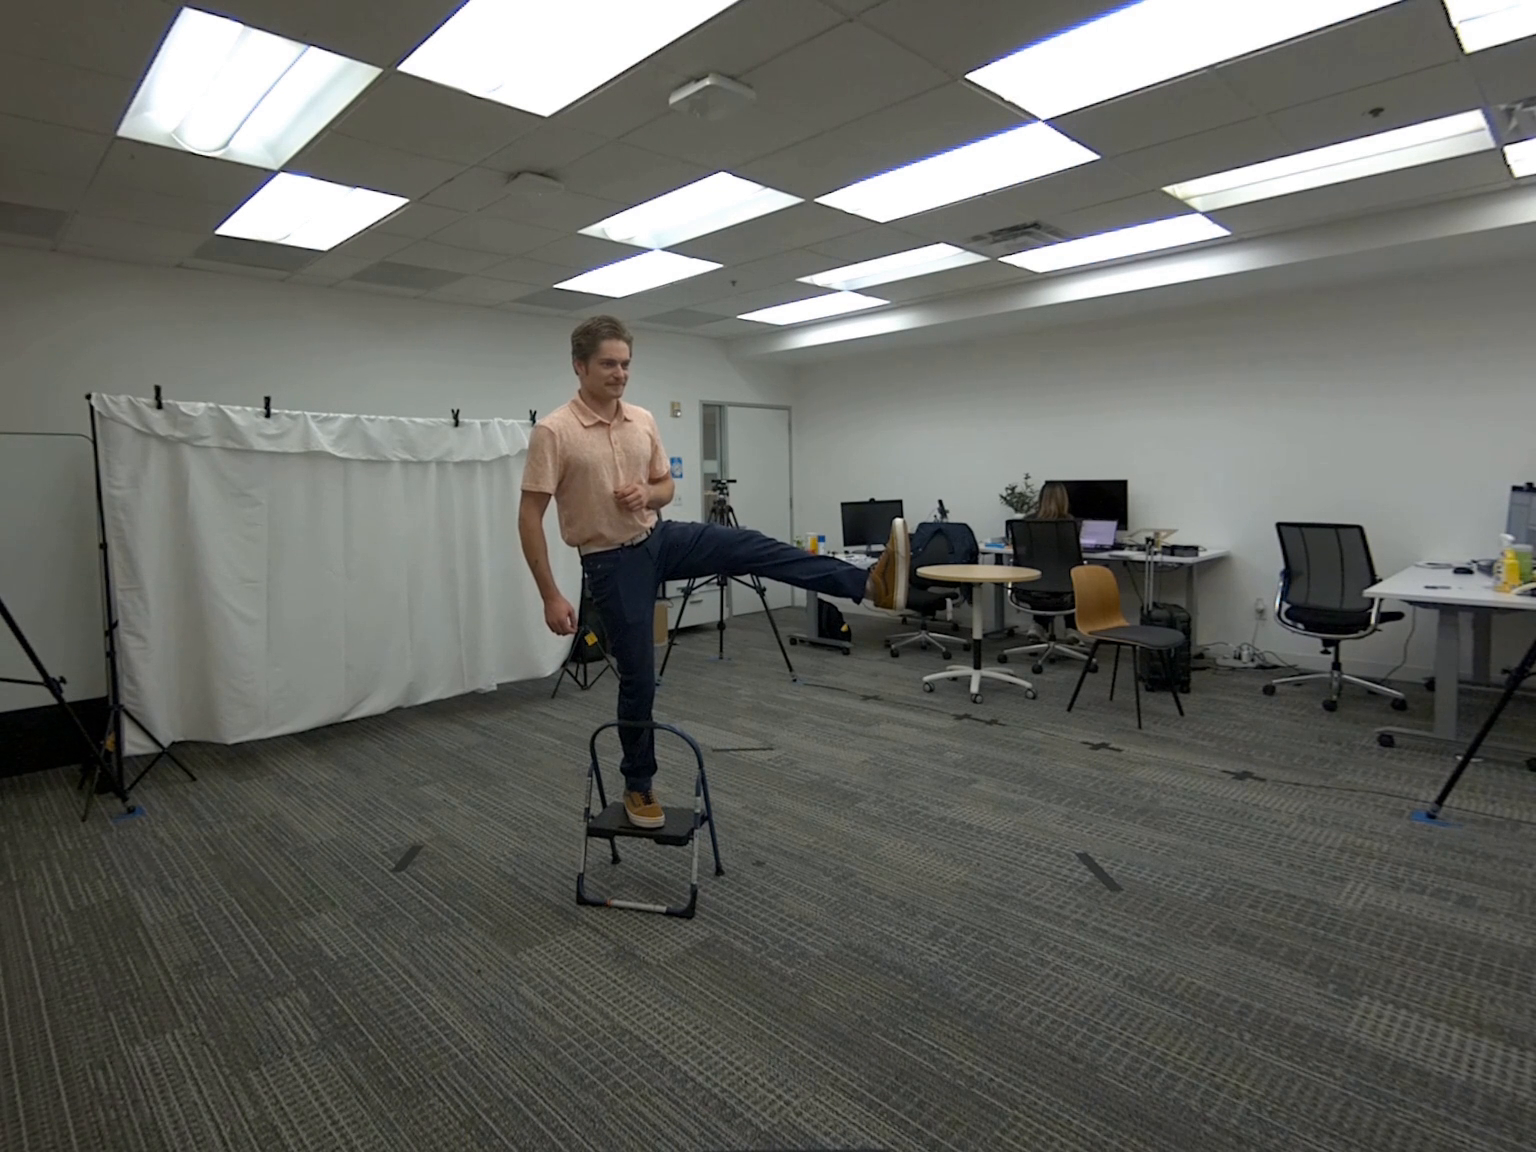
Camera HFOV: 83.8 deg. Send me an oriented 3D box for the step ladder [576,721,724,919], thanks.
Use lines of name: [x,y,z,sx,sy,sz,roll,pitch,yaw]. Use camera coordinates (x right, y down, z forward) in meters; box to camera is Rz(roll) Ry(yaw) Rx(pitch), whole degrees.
step ladder: [-0.406,0.777,2.922,0.437,0.604,0.346,0,5,14]
